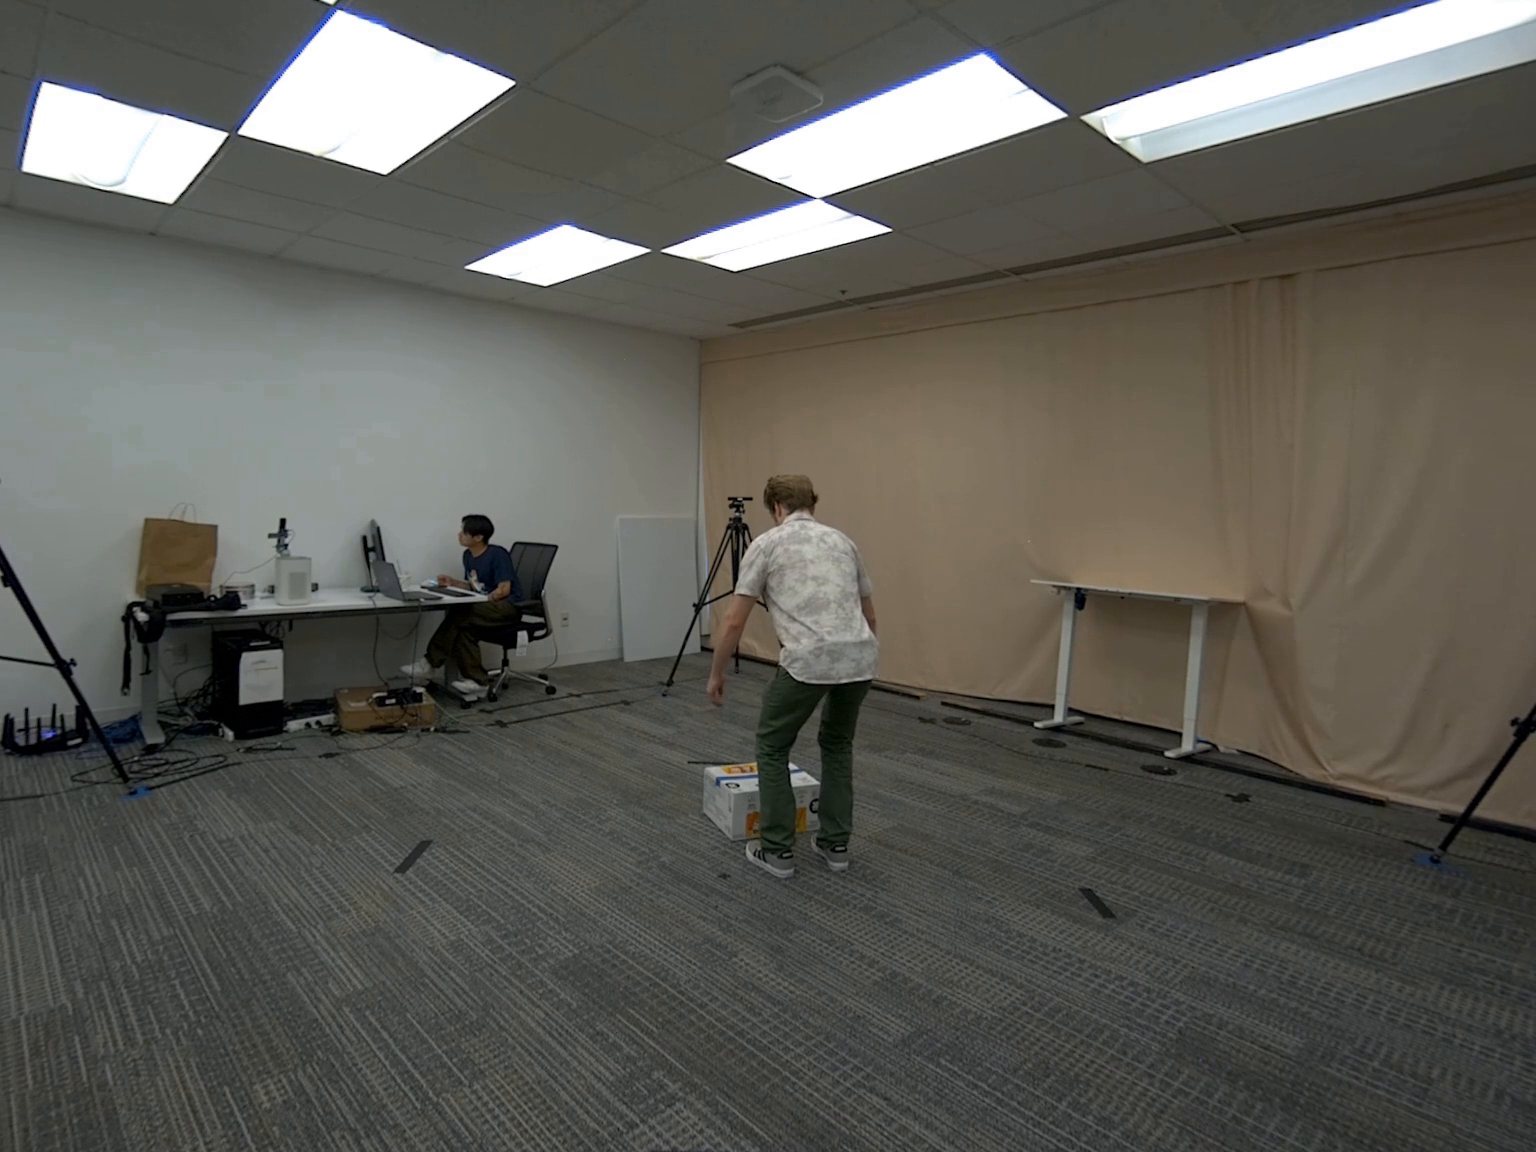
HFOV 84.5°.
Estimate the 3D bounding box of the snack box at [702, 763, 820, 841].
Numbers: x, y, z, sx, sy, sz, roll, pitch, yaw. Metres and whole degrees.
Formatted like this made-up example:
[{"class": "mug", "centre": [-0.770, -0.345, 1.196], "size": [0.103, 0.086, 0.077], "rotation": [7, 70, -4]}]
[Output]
[{"class": "snack box", "centre": [-0.041, 0.961, 3.639], "size": [0.398, 0.205, 0.347], "rotation": [0, 5, -24]}]
